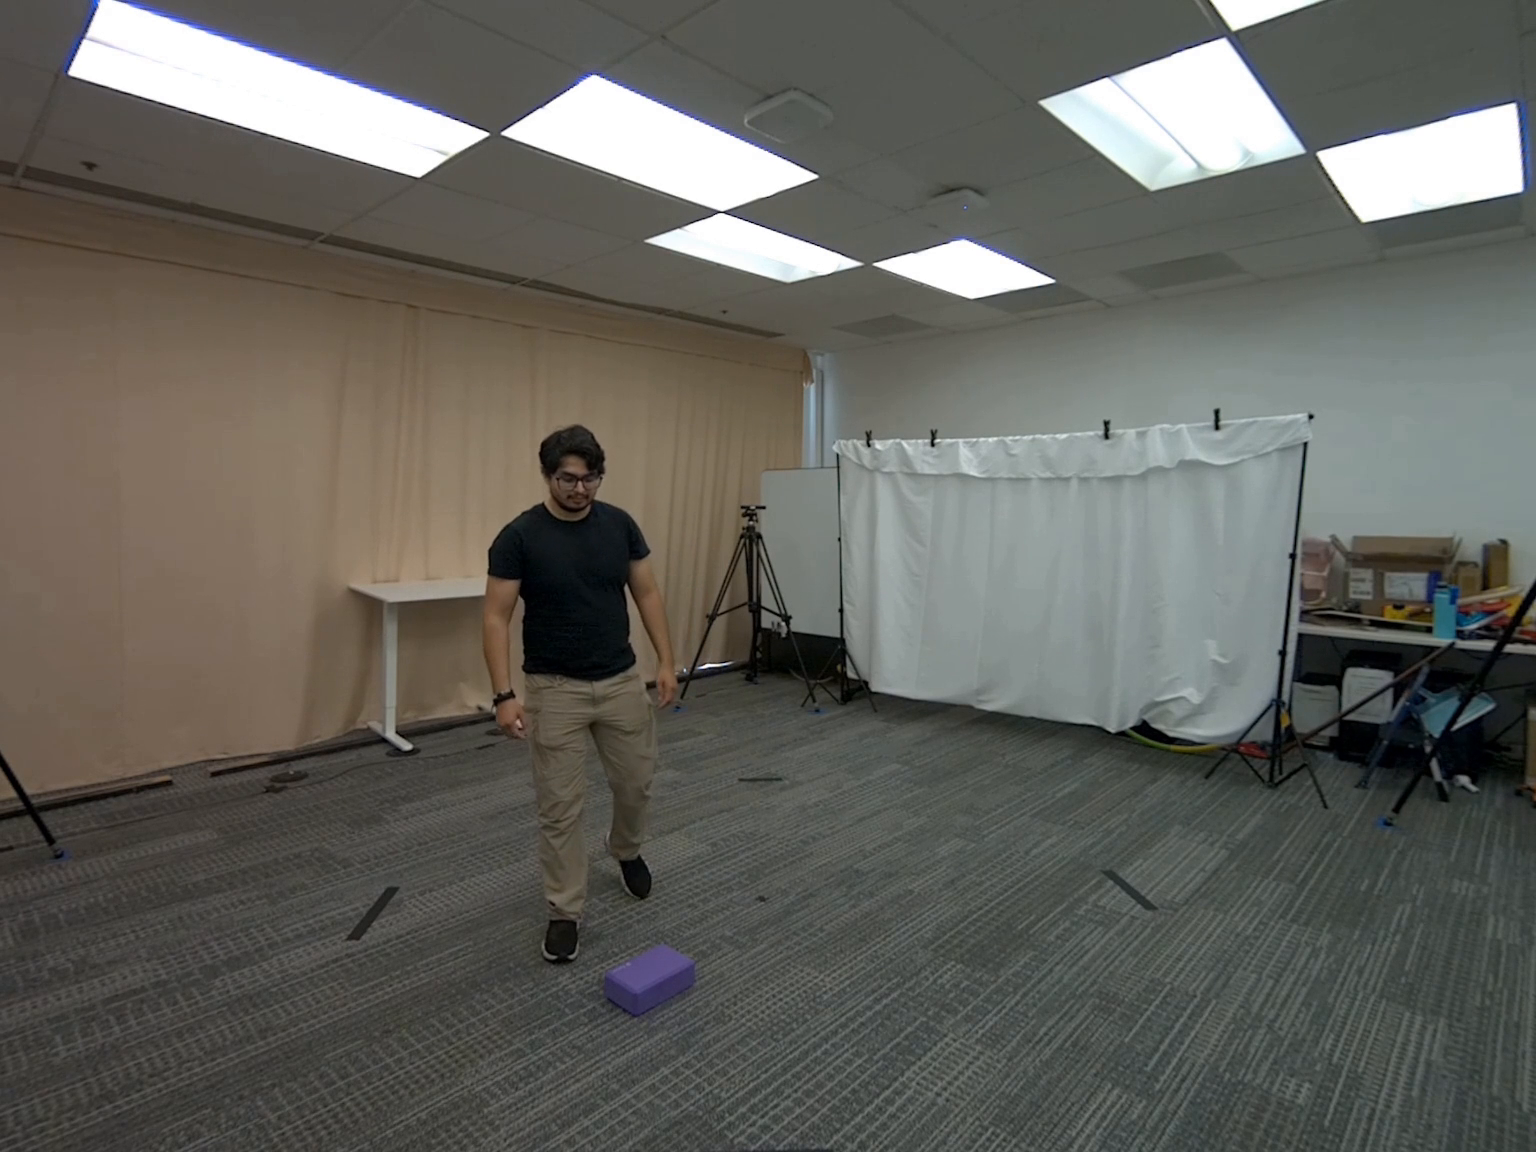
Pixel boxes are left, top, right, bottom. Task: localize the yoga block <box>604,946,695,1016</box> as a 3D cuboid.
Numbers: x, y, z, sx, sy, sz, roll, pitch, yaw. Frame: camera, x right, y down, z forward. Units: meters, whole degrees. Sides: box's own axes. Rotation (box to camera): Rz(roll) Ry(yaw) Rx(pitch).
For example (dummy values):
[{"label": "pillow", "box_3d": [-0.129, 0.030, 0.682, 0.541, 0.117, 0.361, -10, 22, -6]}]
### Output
[{"label": "yoga block", "box_3d": [-0.337, 1.156, 2.409, 0.154, 0.076, 0.222, 5, 7, 43]}]
